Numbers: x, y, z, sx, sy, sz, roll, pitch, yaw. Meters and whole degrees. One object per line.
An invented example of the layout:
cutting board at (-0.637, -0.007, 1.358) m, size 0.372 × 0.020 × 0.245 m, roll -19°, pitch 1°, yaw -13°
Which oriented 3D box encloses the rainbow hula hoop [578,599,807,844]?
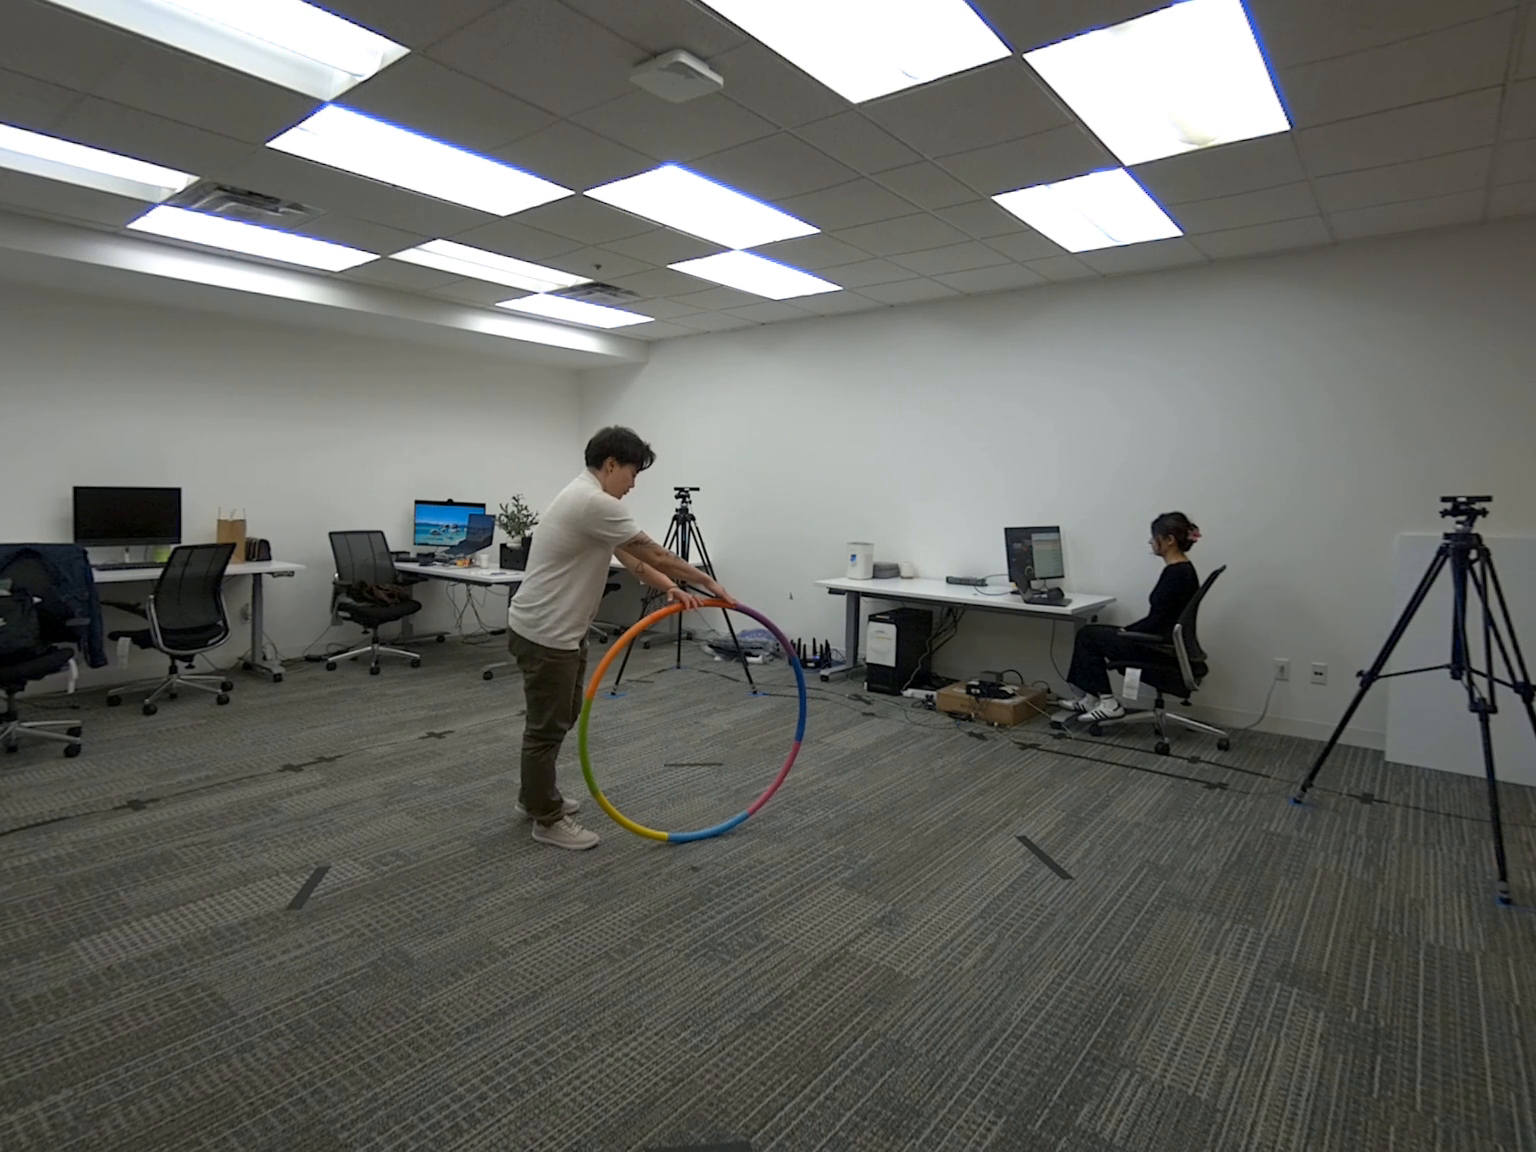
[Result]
rainbow hula hoop at (-0.270, 0.563, 3.341) m, size 0.953 × 0.975 × 0.036 m, roll -1°, pitch 5°, yaw -29°
